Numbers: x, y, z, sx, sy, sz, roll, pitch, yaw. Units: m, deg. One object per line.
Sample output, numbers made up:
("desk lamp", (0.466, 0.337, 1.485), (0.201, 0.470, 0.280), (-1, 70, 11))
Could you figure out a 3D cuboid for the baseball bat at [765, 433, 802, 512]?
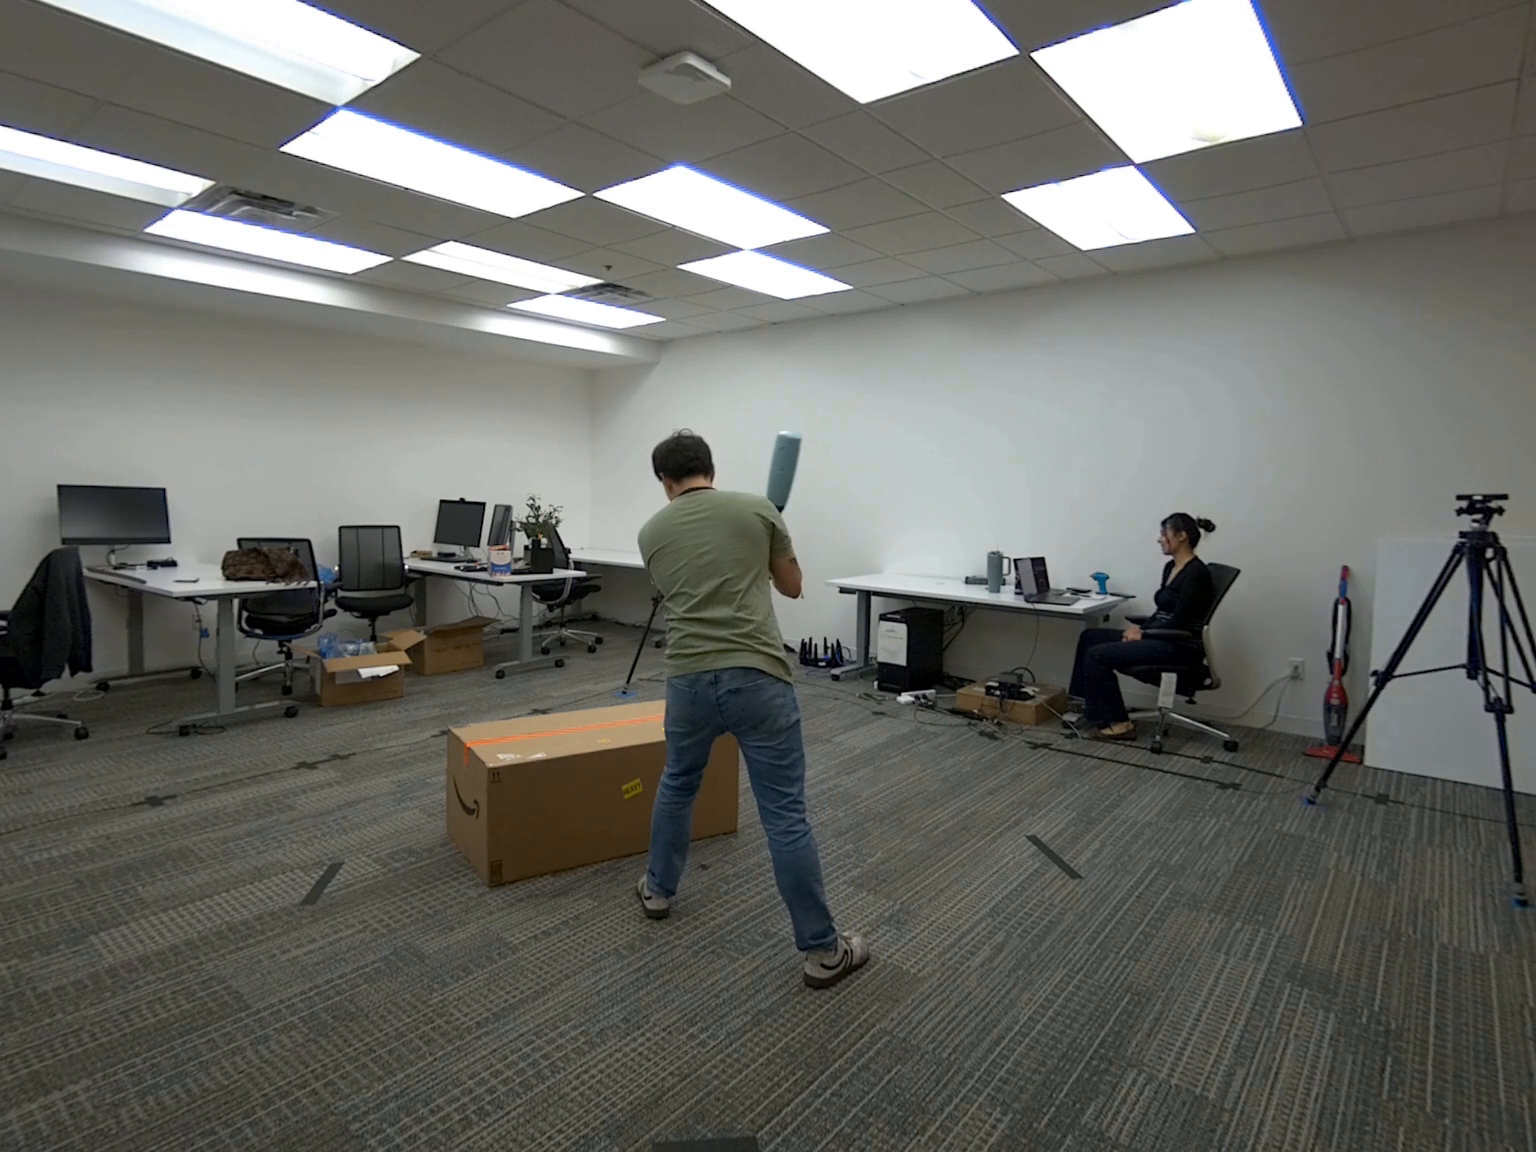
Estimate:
("baseball bat", (0.011, -0.192, 2.949), (0.089, 0.536, 0.090), (7, 16, -4))
